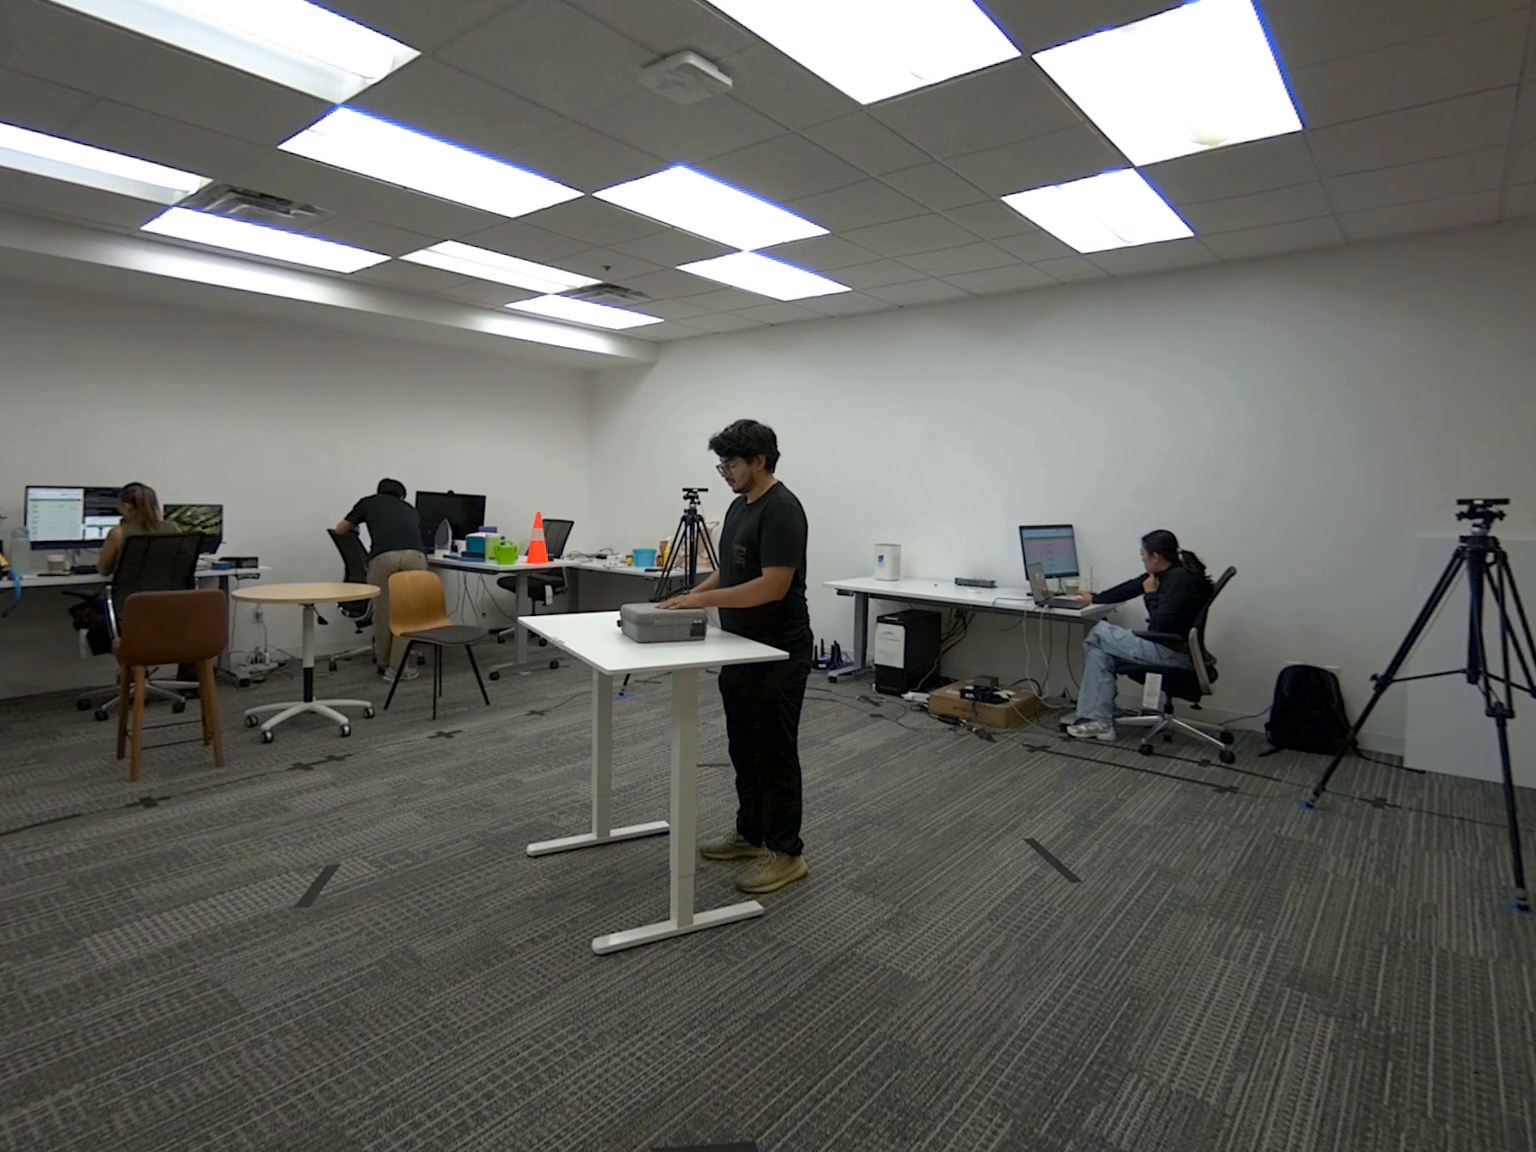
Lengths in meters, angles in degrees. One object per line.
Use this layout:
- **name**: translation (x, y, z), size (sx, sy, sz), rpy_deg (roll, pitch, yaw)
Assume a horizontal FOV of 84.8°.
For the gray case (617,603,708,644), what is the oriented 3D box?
- **gray case**: translation (-0.375, 0.160, 2.899), size (0.251, 0.104, 0.267), rpy_deg (0, 6, -21)
